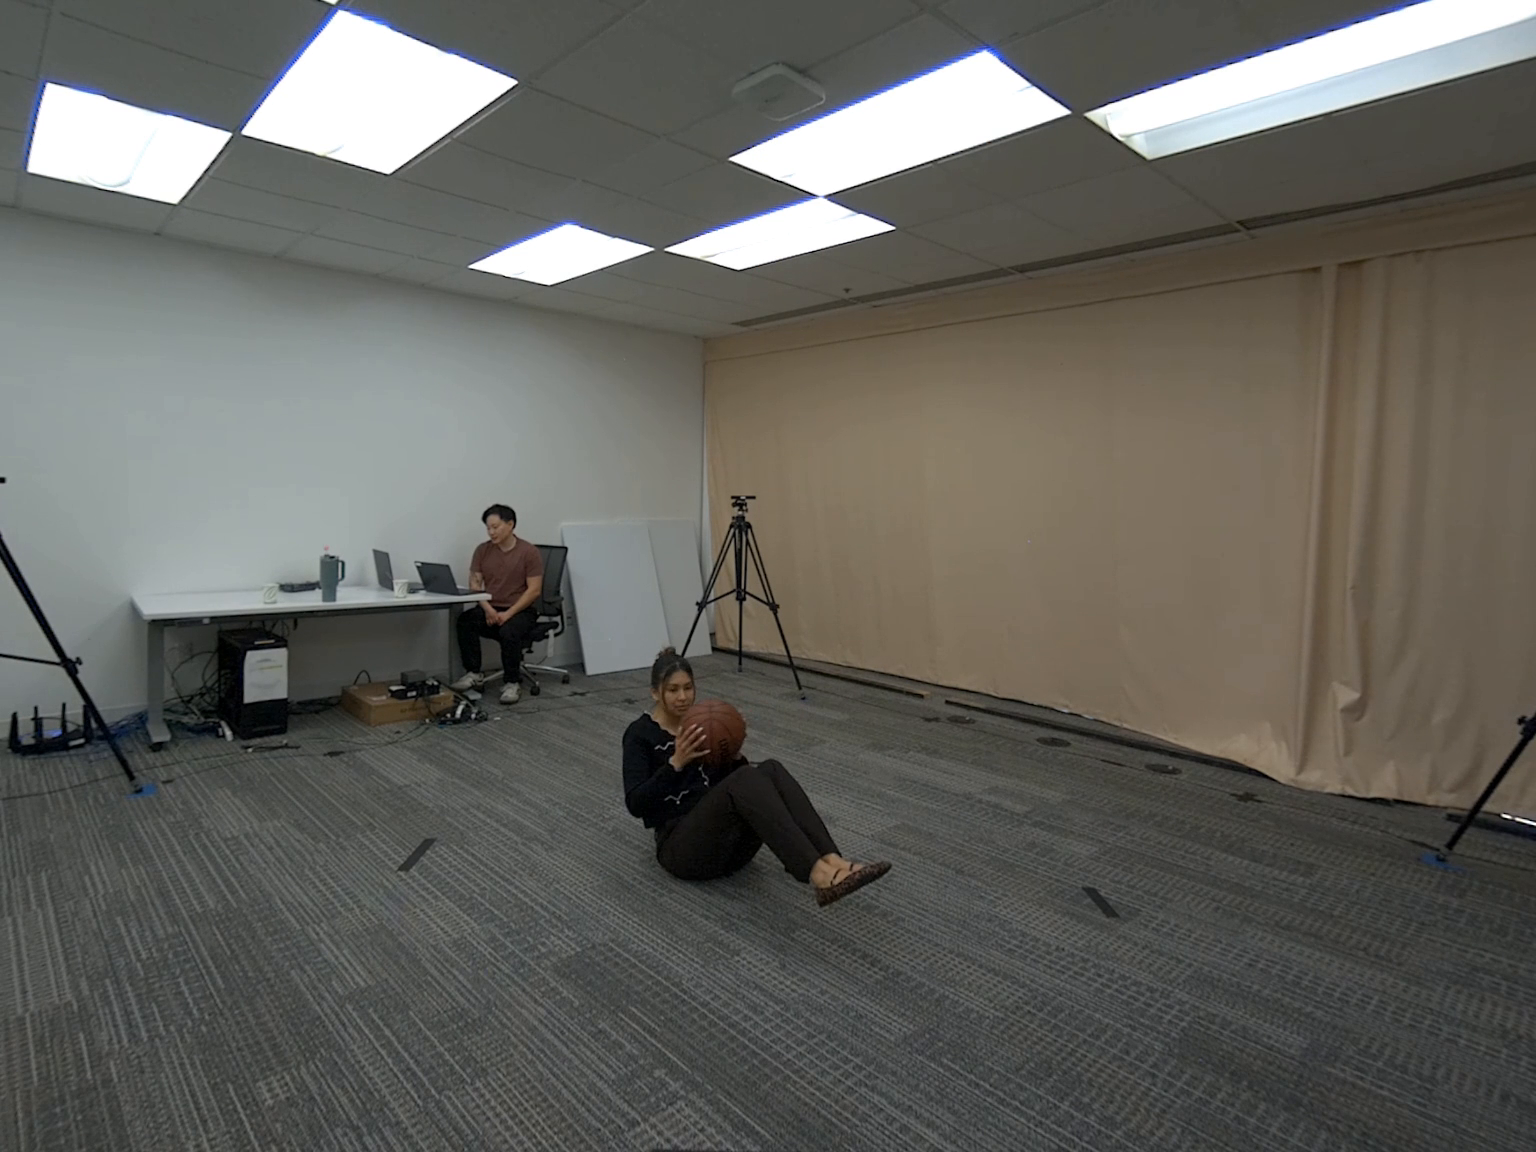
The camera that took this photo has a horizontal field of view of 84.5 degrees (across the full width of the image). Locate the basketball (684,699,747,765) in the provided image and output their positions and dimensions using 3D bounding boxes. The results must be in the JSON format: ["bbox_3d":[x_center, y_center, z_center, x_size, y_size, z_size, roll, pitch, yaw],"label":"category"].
[{"bbox_3d":[-0.205,0.576,3.068,0.236,0.235,0.237,1,4,-1],"label":"basketball"}]
